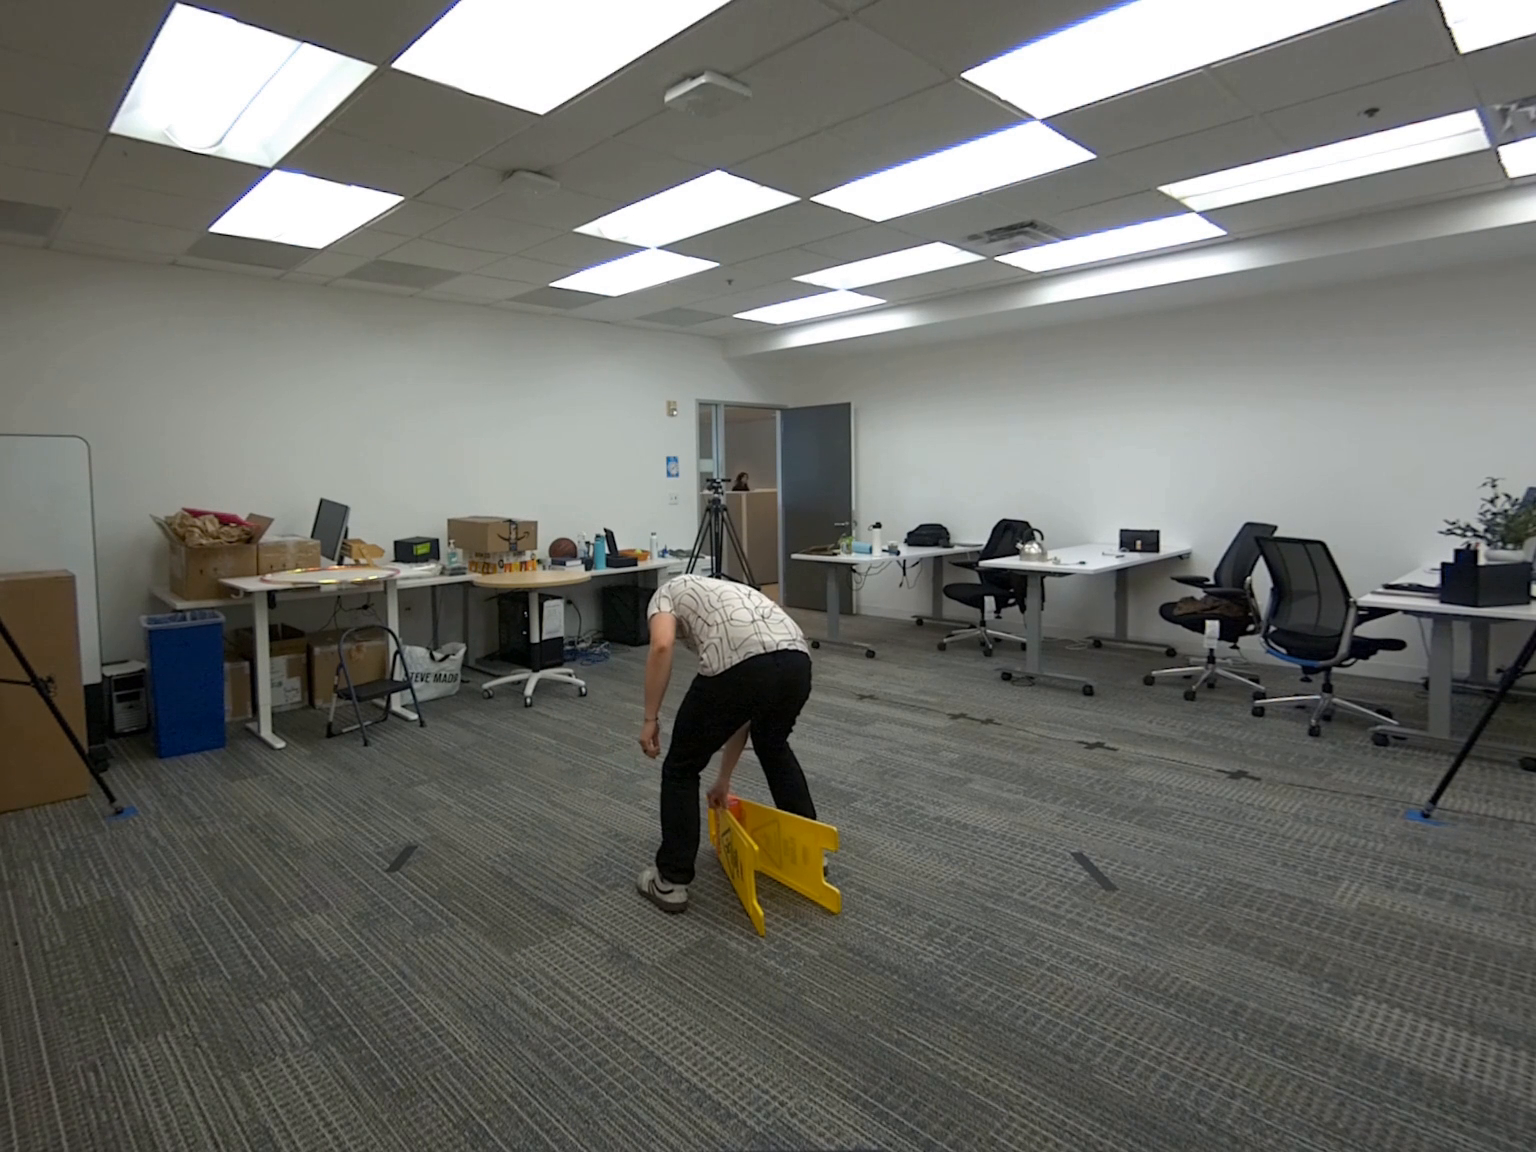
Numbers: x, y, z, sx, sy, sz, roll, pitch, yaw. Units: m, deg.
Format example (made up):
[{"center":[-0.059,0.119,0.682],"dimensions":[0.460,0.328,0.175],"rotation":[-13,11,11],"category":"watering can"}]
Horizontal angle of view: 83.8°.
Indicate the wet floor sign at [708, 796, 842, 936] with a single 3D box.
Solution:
[{"center":[-0.057,0.931,2.947],"dimensions":[0.283,0.281,0.663],"rotation":[-4,5,-29],"category":"wet floor sign"}]
